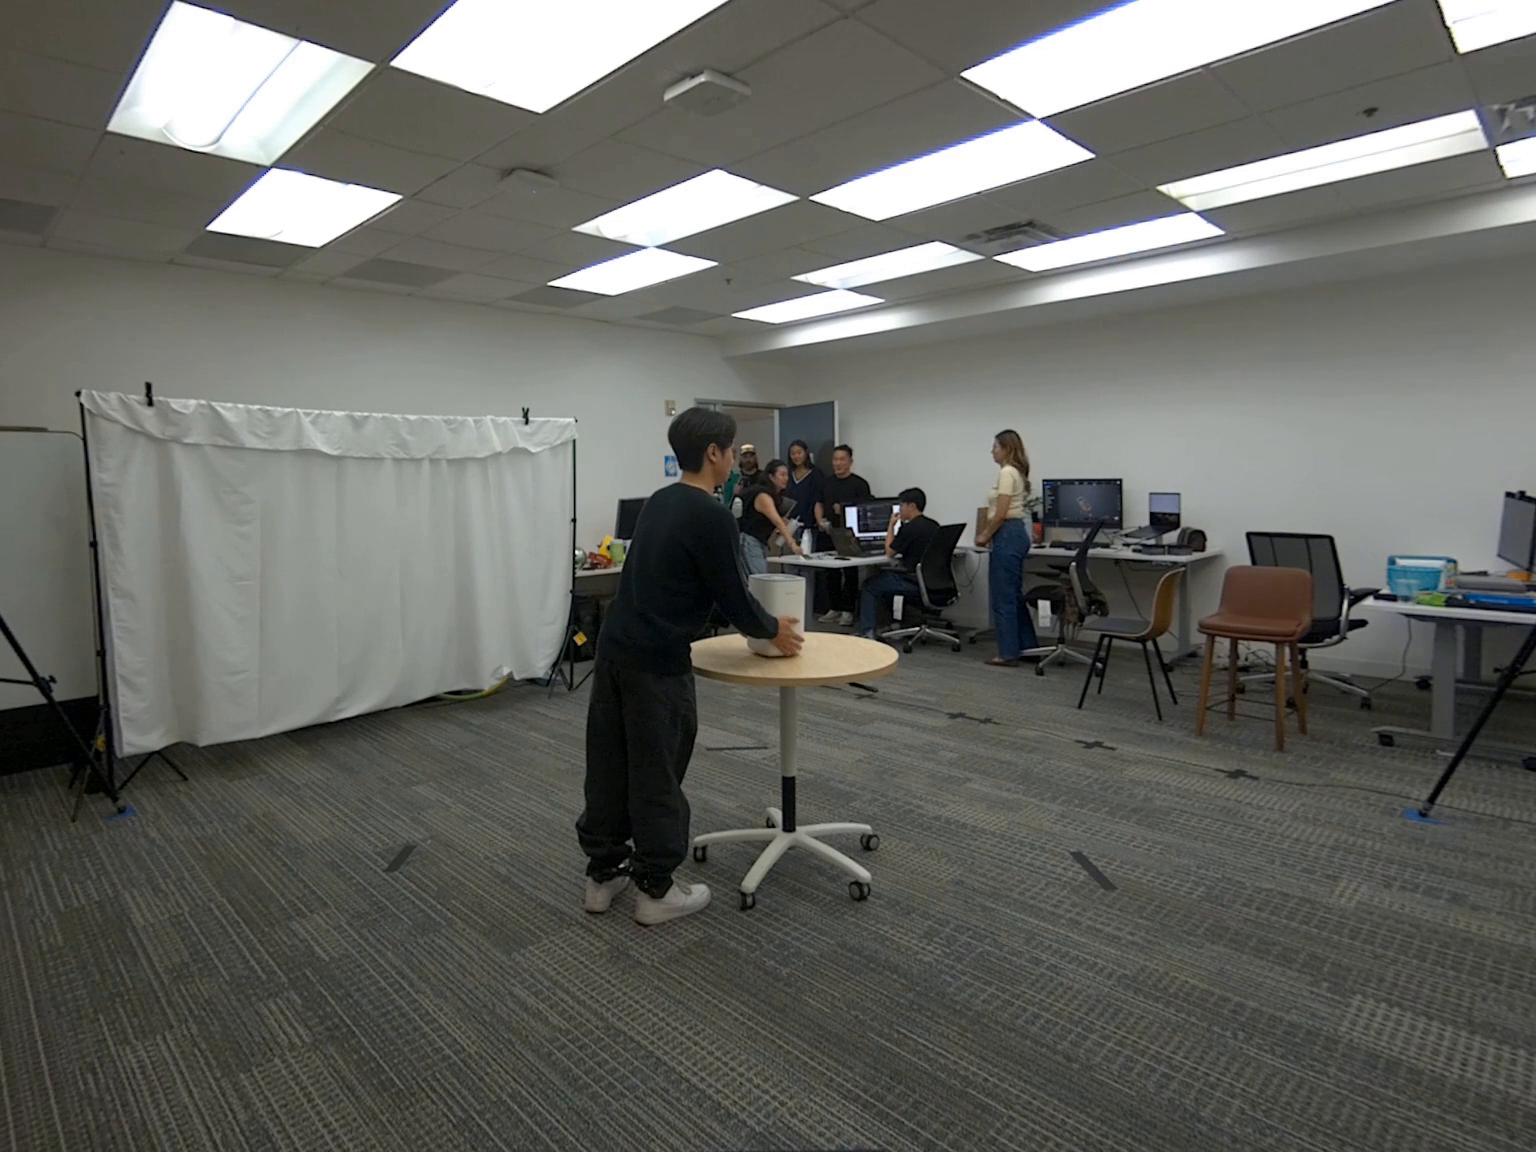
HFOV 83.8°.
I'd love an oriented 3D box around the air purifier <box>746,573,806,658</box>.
[{"bbox_3d":[0.028,0.133,2.970,0.167,0.264,0.176,-1,5,-31],"label":"air purifier"}]
